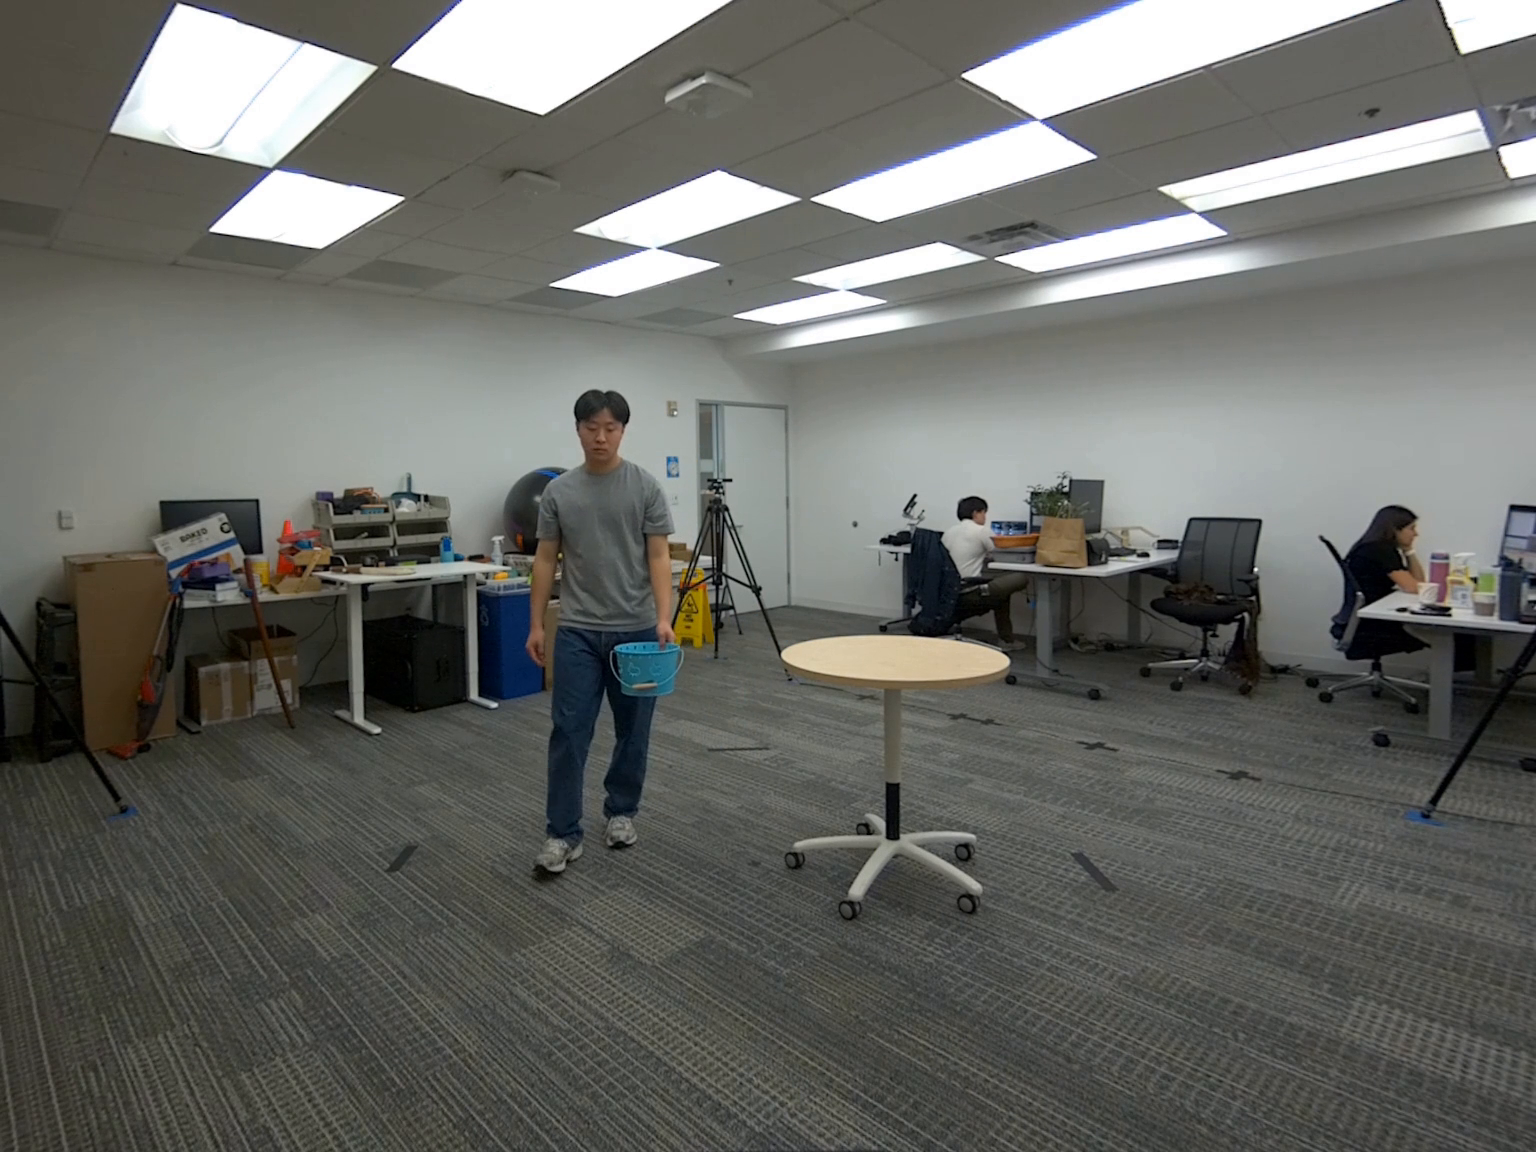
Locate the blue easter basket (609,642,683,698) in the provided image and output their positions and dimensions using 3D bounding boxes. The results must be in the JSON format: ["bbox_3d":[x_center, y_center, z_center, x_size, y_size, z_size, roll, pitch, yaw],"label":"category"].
[{"bbox_3d":[-0.422,0.323,2.976,0.243,0.155,0.244,-3,4,-1],"label":"blue easter basket"}]
